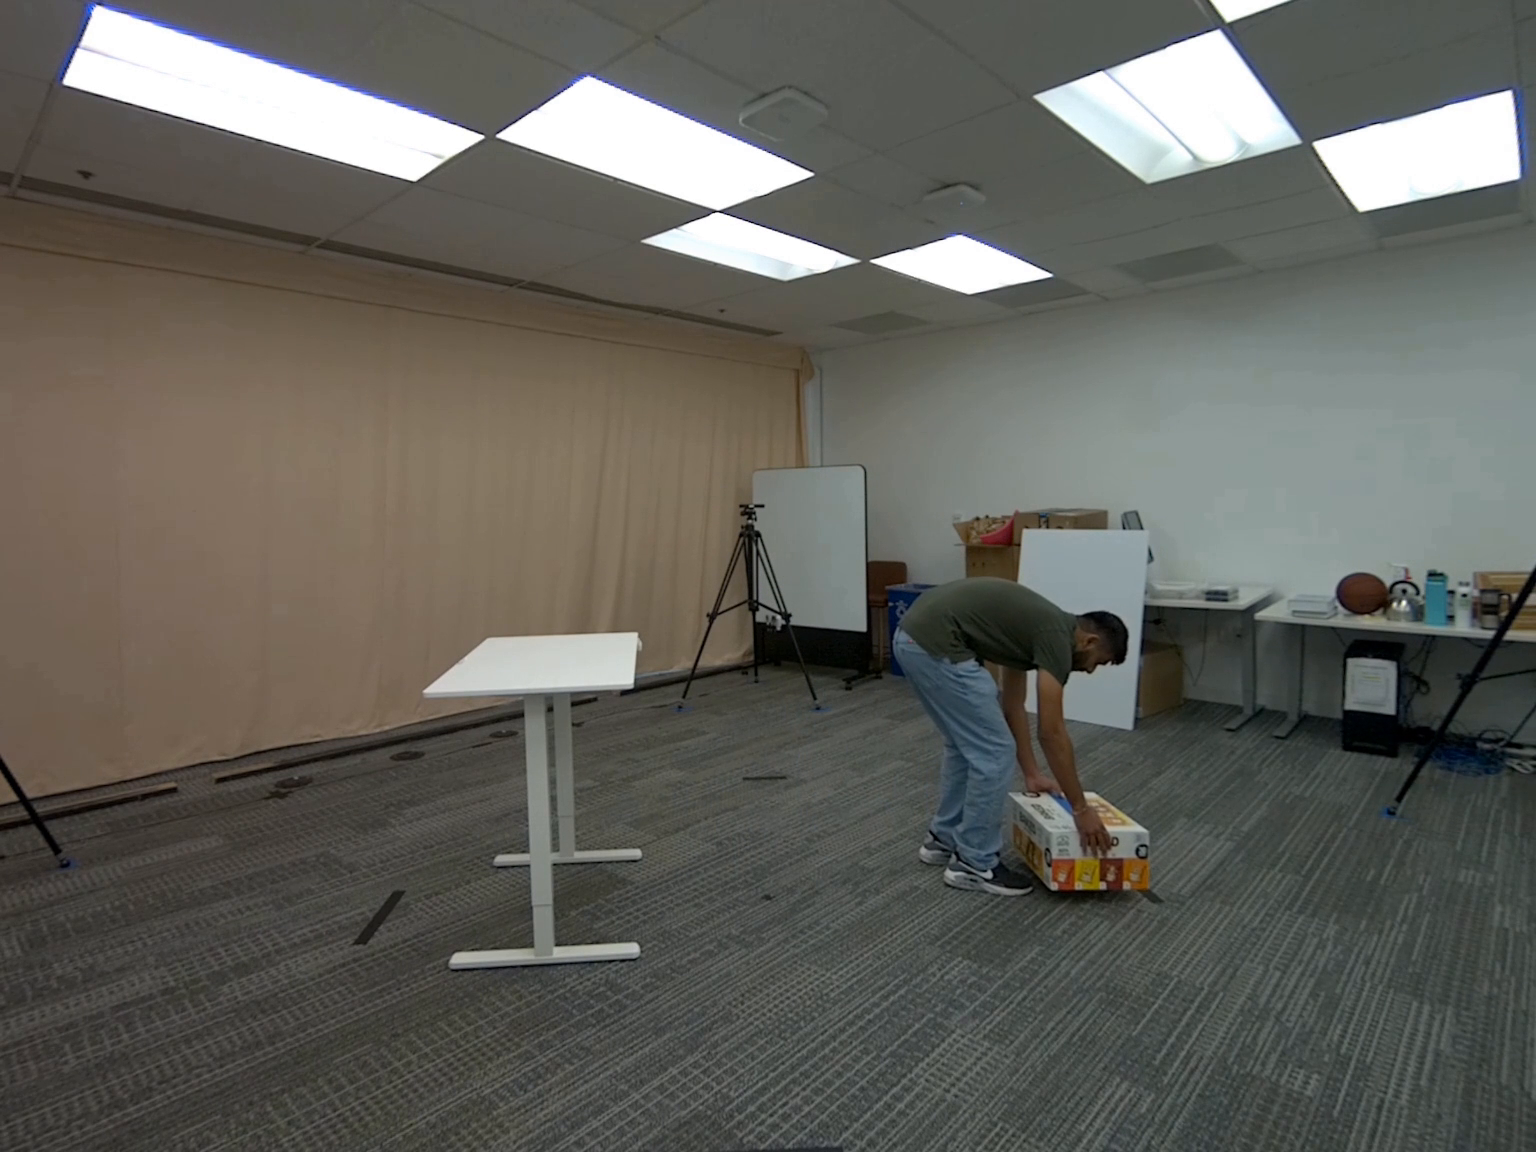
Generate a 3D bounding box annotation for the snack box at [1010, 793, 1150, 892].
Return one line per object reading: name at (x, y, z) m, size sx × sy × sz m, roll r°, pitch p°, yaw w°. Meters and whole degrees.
snack box at (1.122, 0.962, 3.075) m, size 0.339 × 0.205 × 0.407 m, roll 0°, pitch 4°, yaw -3°
